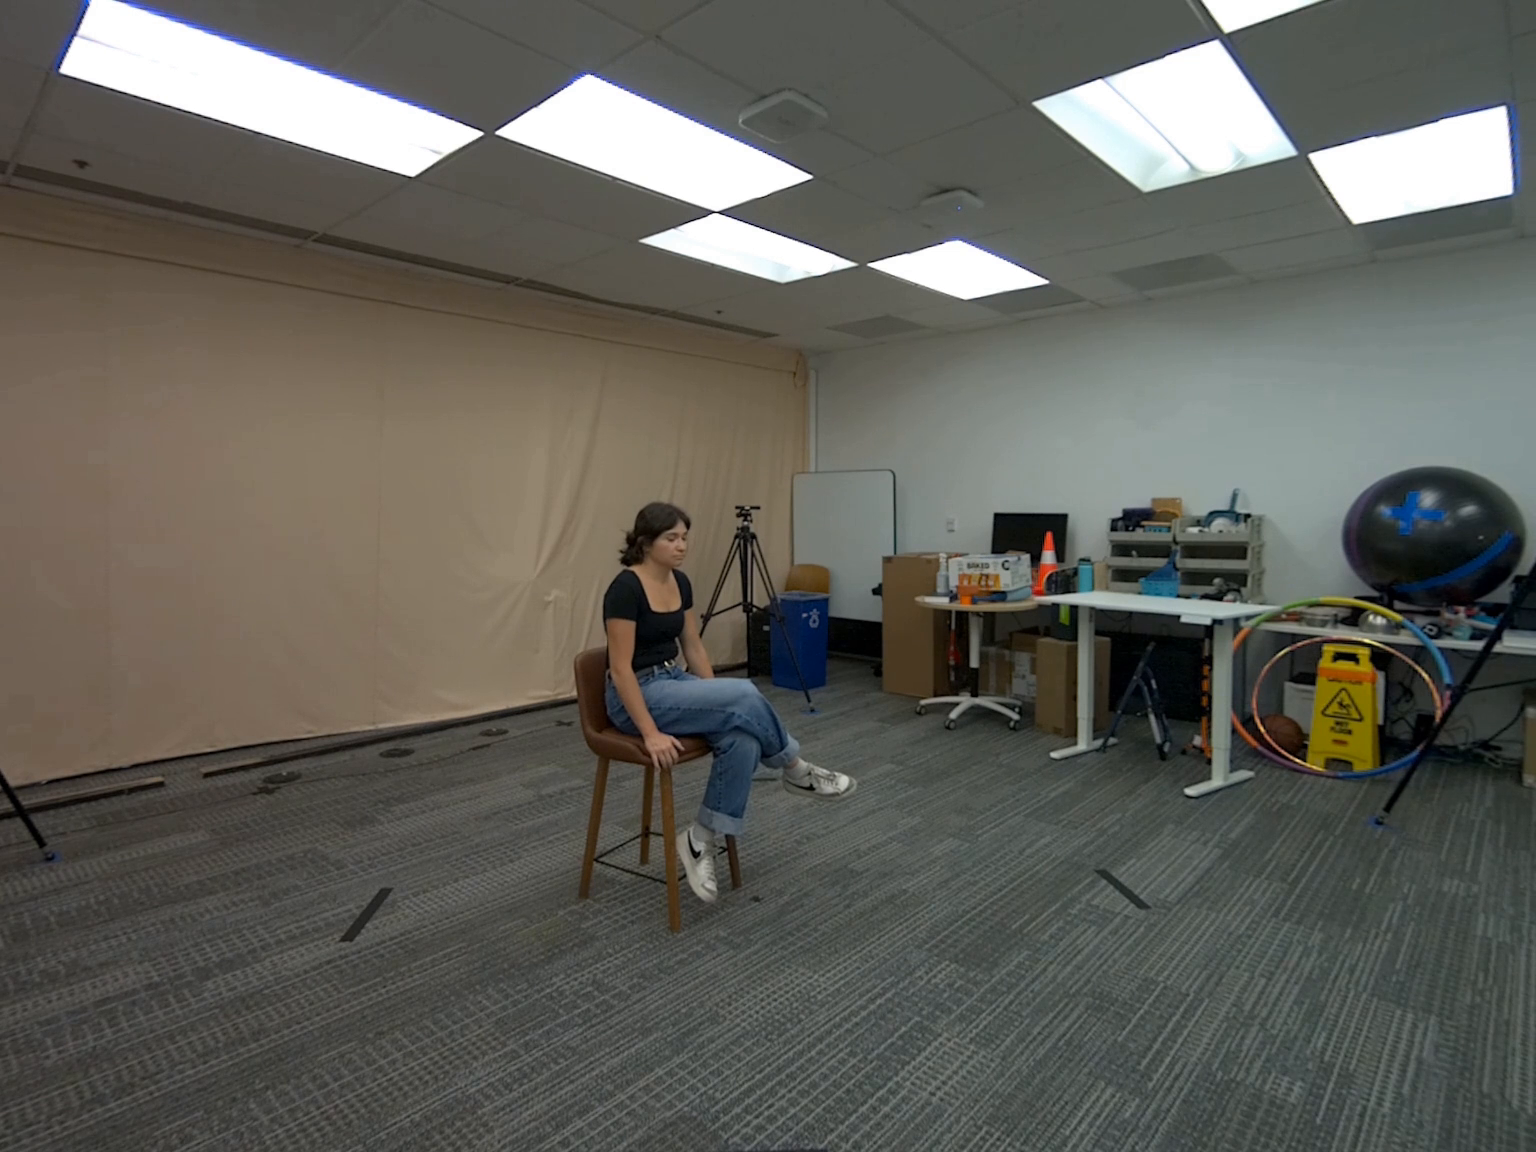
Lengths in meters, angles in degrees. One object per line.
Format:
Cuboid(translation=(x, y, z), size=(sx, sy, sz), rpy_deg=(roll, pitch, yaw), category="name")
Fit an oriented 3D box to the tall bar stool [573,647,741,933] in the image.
Cuboid(translation=(-0.400, 0.712, 3.022), size=(0.481, 0.889, 0.444), rpy_deg=(-1, 2, 32), category="tall bar stool")
